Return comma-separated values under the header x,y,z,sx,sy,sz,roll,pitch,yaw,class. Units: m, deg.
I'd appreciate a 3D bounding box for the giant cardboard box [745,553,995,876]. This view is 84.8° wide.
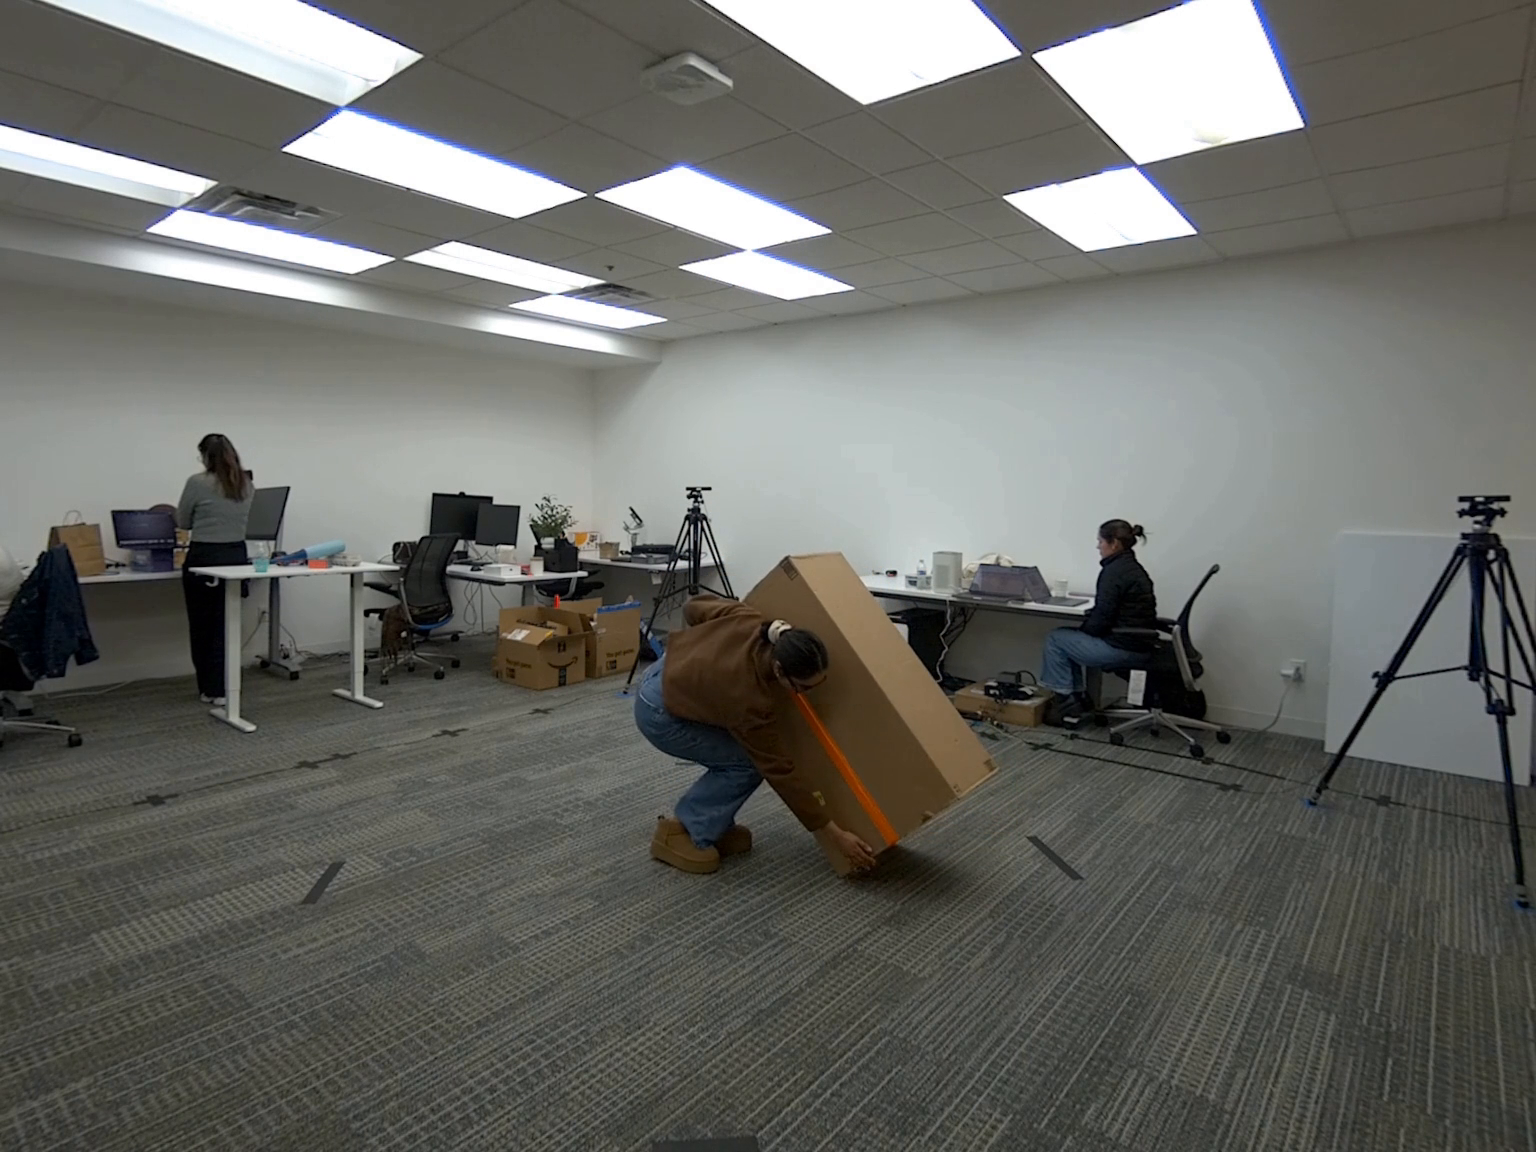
x,y,z,sx,sy,sz,roll,pitch,yaw,class
0.271,0.486,3.256,0.578,1.055,0.414,-46,-23,28,giant cardboard box
